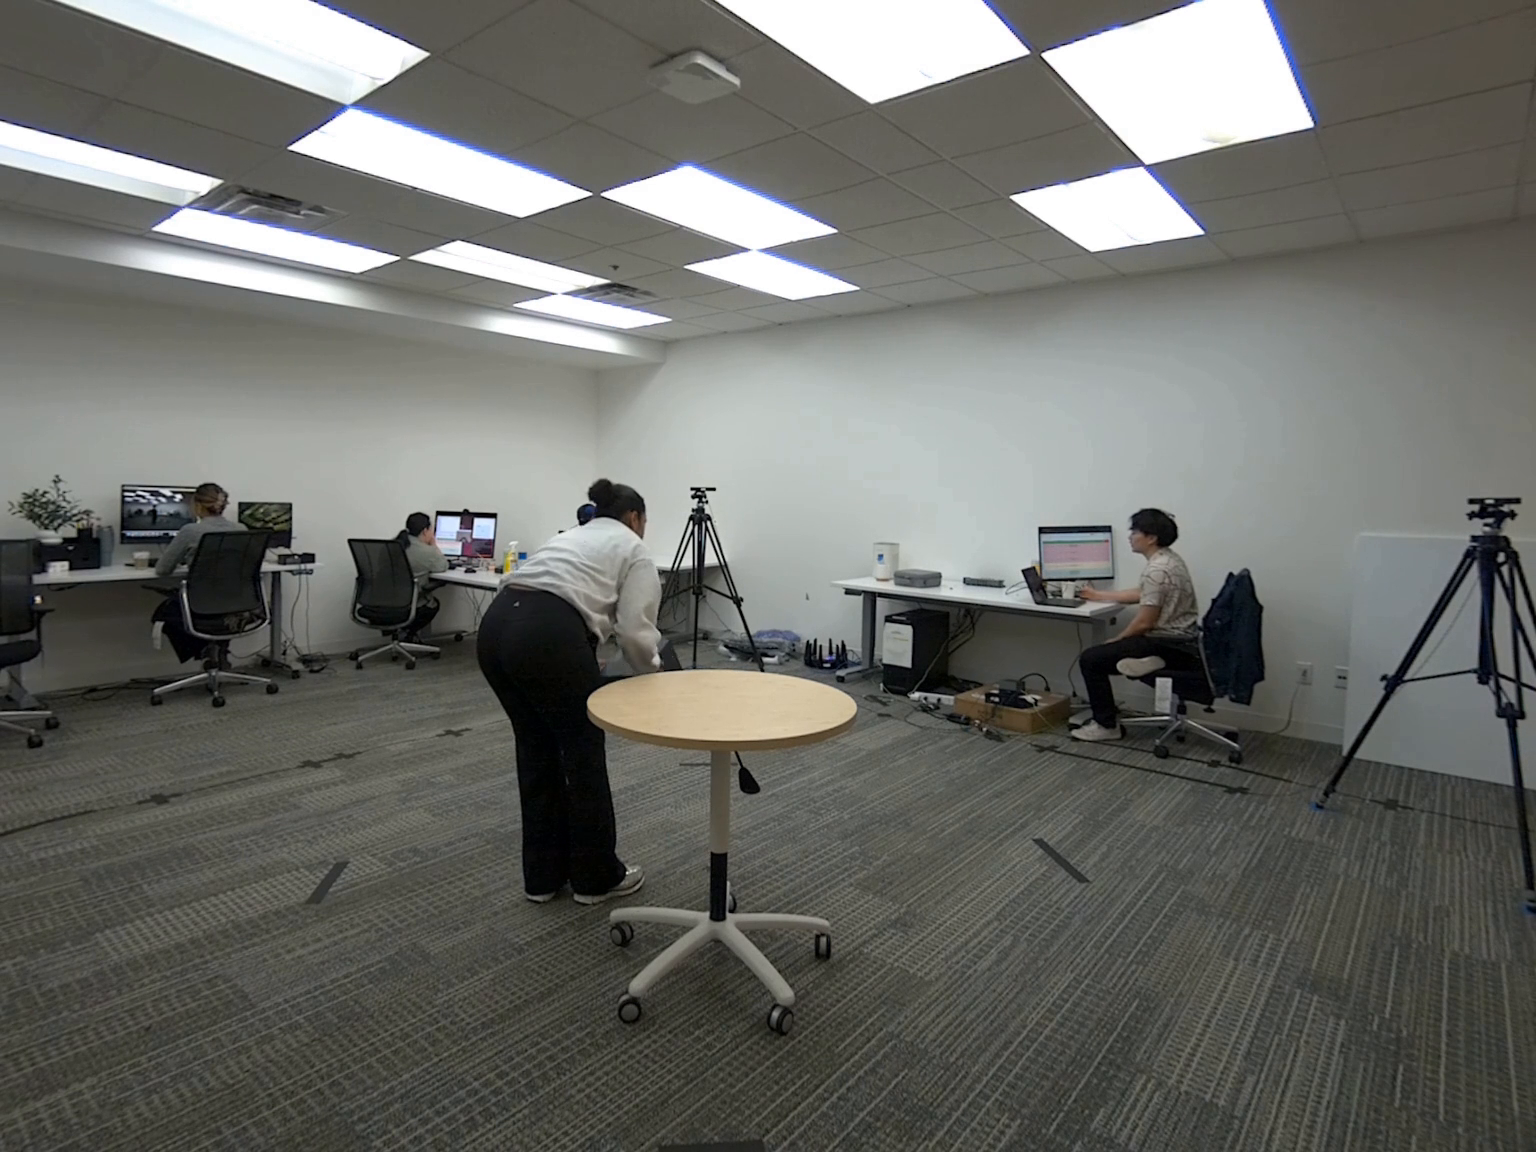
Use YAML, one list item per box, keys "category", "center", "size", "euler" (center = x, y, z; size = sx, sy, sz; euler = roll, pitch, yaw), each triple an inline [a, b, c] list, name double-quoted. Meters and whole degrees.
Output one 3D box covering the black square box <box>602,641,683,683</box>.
- category: "black square box"
  center: [-0.482, 0.375, 3.174]
  size: [0.222, 0.152, 0.228]
  euler: [-5, 27, 29]
